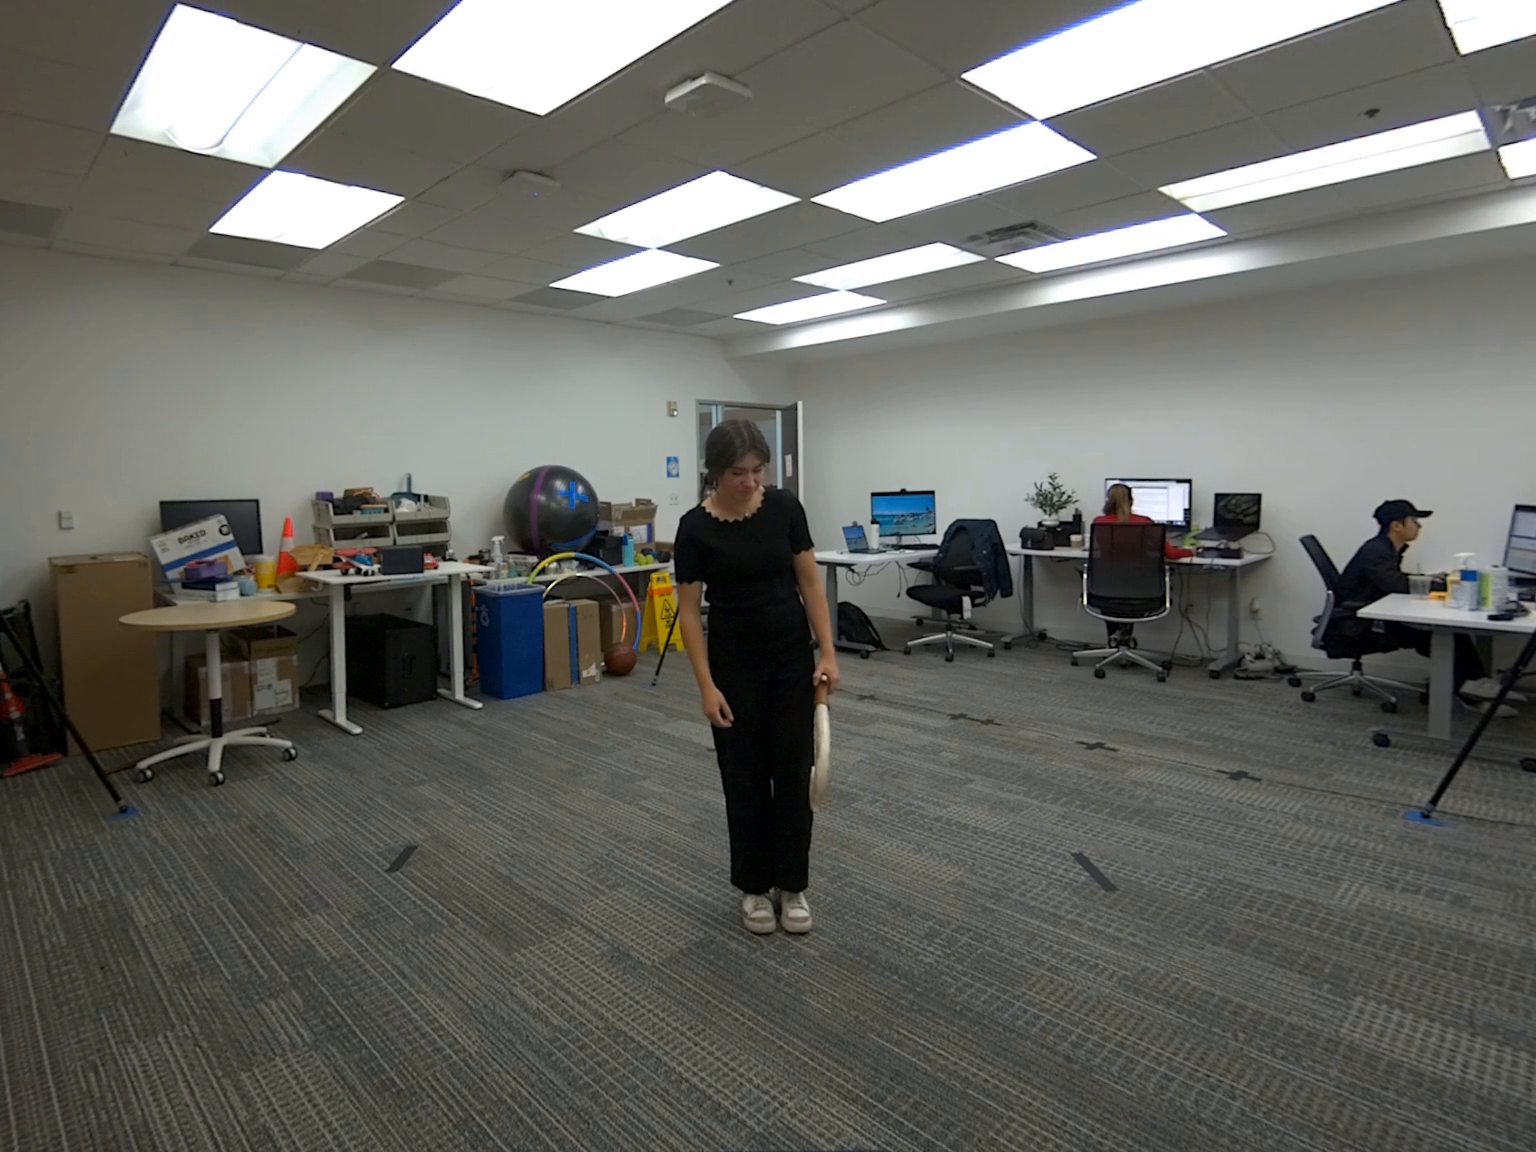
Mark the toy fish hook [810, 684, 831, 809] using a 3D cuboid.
[{"bbox_3d":[0.148,0.463,2.497,0.048,0.220,0.516,10,33,-1],"label":"toy fish hook"}]
